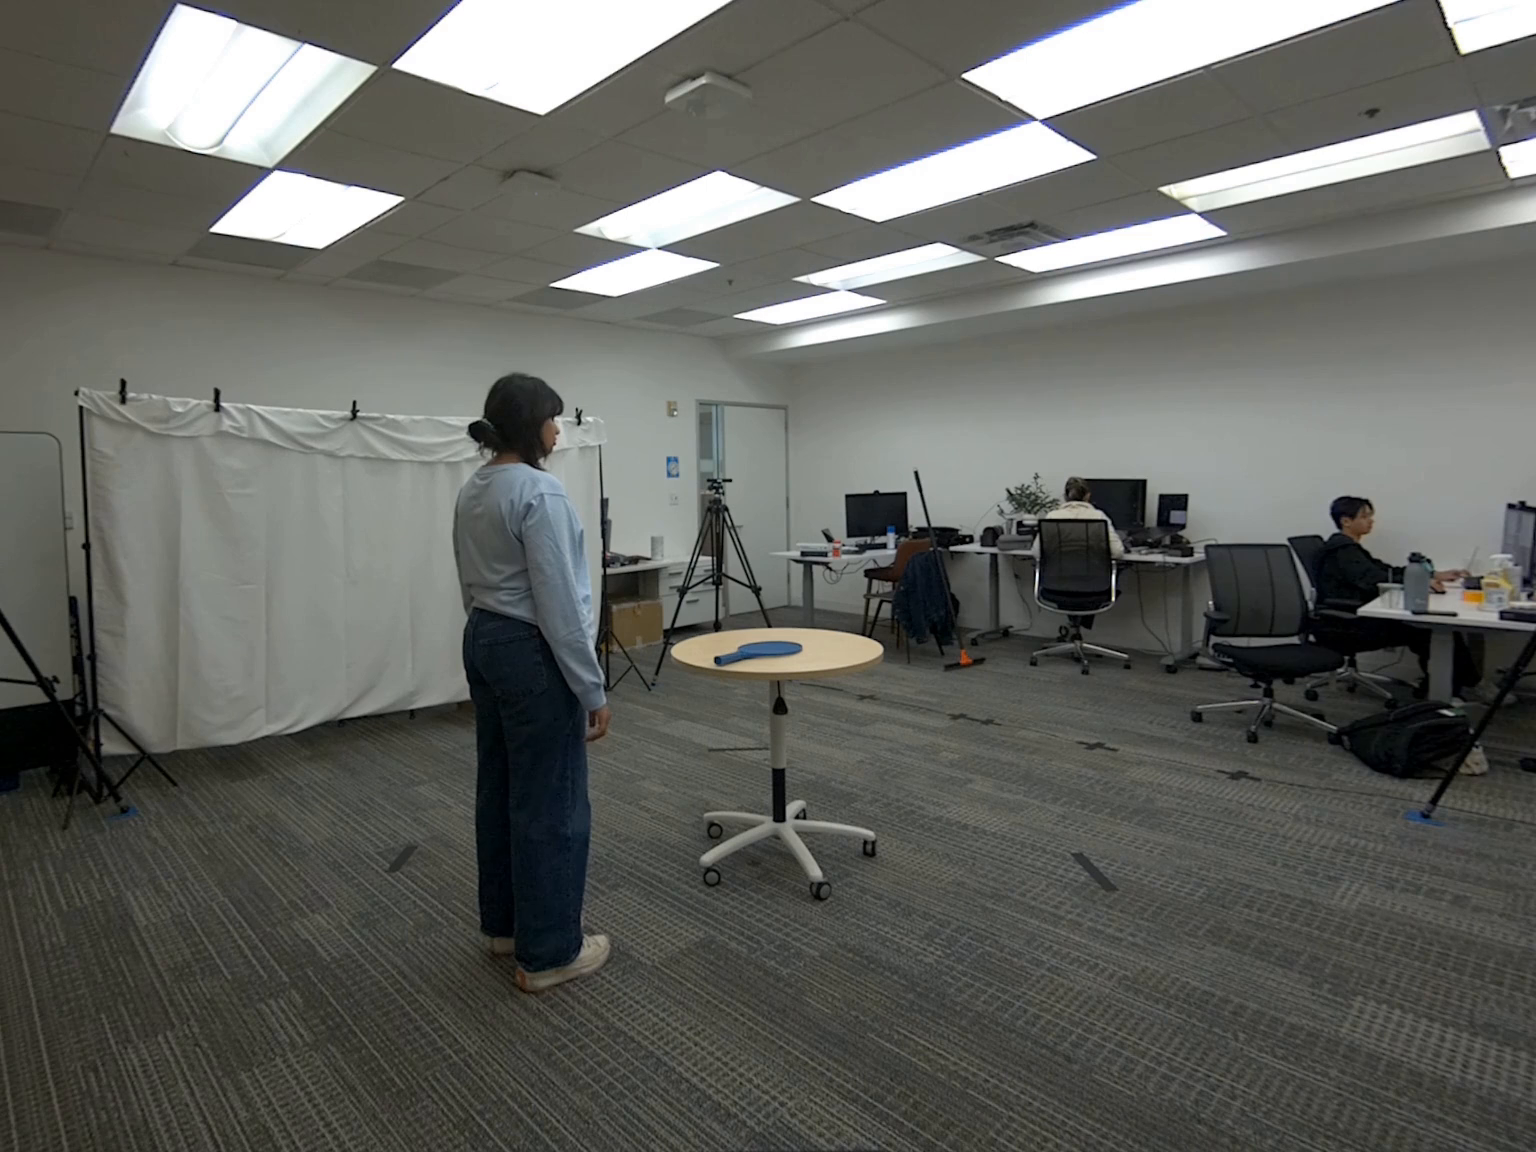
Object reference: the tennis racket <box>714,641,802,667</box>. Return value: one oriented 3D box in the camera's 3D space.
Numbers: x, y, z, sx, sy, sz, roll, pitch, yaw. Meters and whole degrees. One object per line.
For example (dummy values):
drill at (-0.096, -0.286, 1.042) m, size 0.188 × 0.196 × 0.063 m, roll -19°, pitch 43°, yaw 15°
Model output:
tennis racket at (-0.037, 0.266, 2.988) m, size 0.220 × 0.031 × 0.422 m, roll 3°, pitch 6°, yaw 37°
